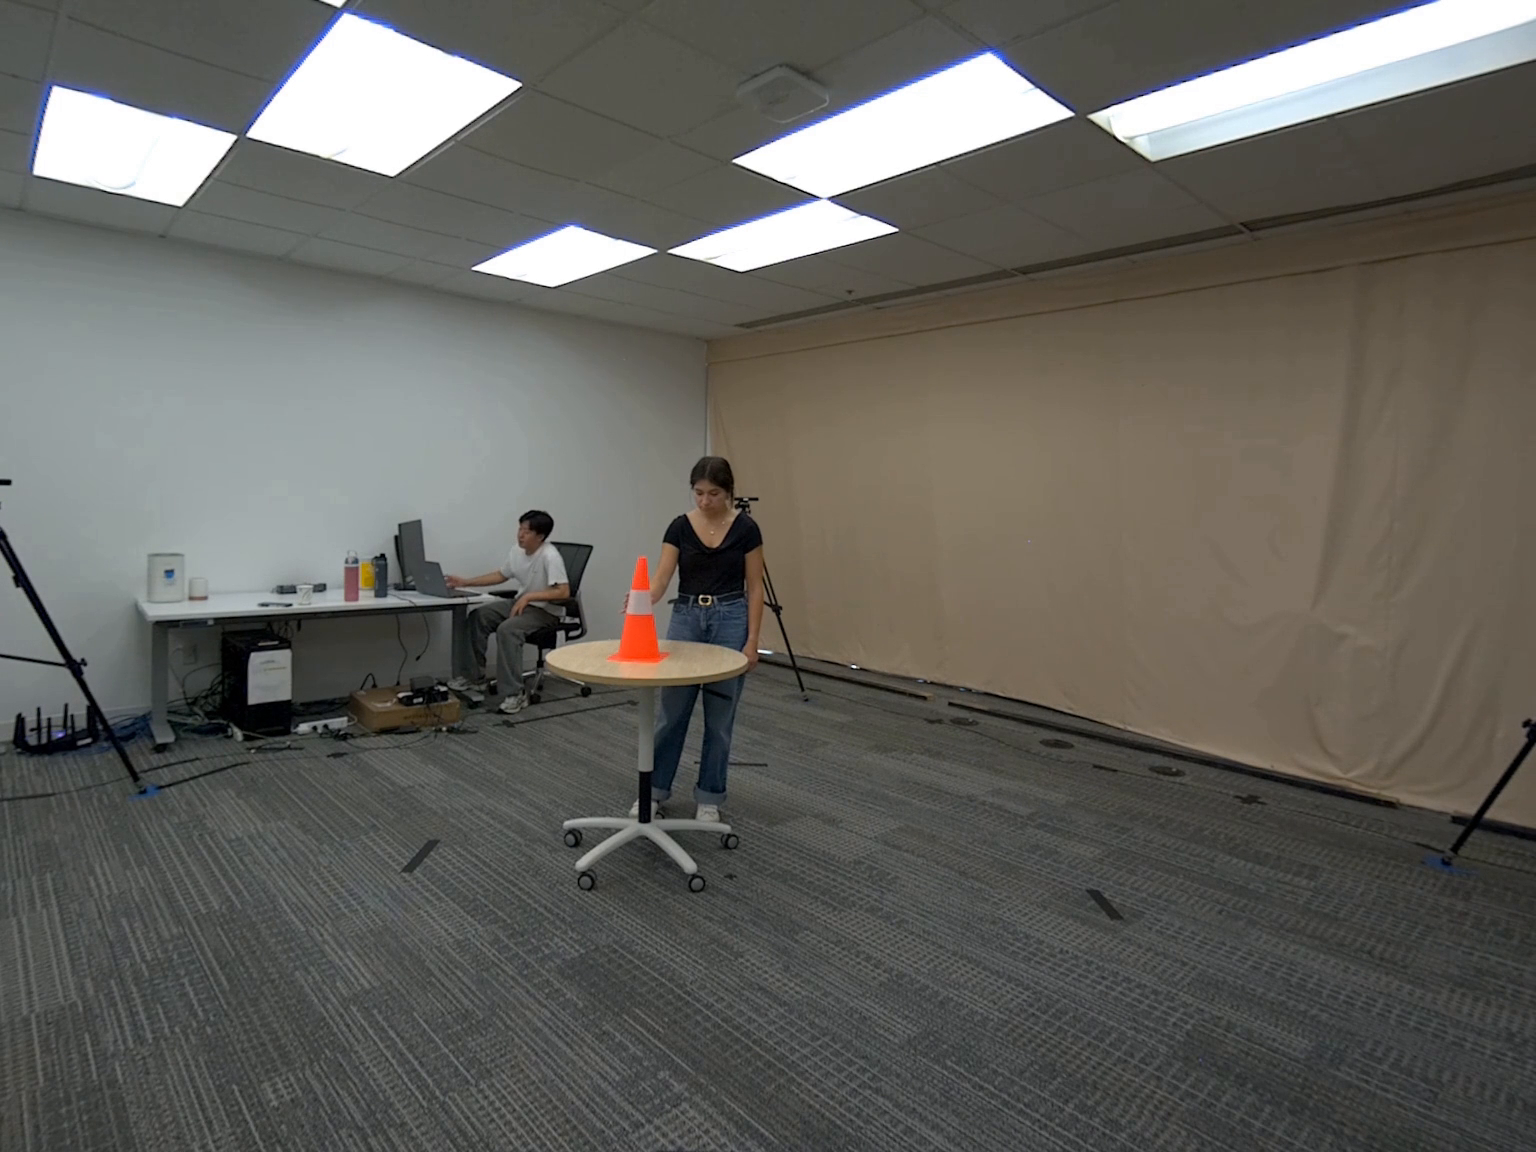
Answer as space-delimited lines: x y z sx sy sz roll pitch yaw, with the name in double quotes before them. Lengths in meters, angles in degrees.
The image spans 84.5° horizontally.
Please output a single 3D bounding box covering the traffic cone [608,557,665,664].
"traffic cone" -0.495 0.125 3.194 0.204 0.383 0.204 2 2 5
